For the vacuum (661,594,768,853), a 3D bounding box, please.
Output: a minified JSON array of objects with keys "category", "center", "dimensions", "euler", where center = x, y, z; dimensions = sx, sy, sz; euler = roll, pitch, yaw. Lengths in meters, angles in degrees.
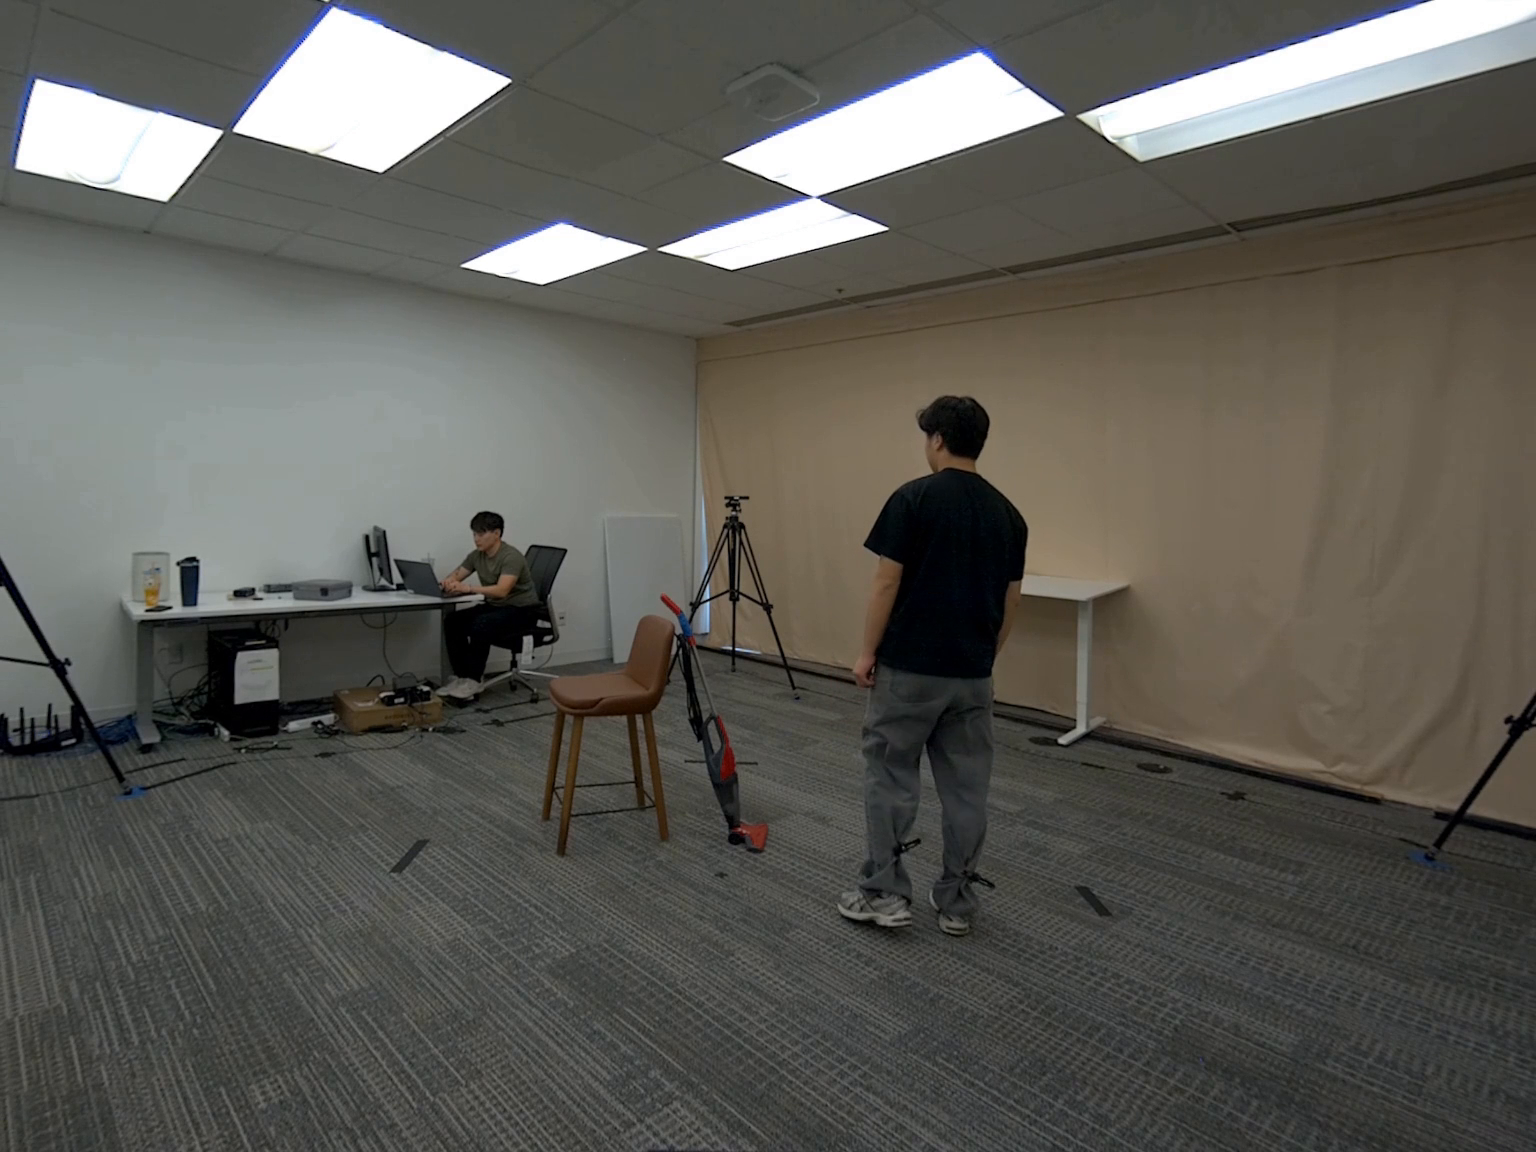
[{"category":"vacuum","center":[-0.262,0.576,3.443],"dimensions":[0.144,1.050,0.252],"euler":[-19,0,2]}]
